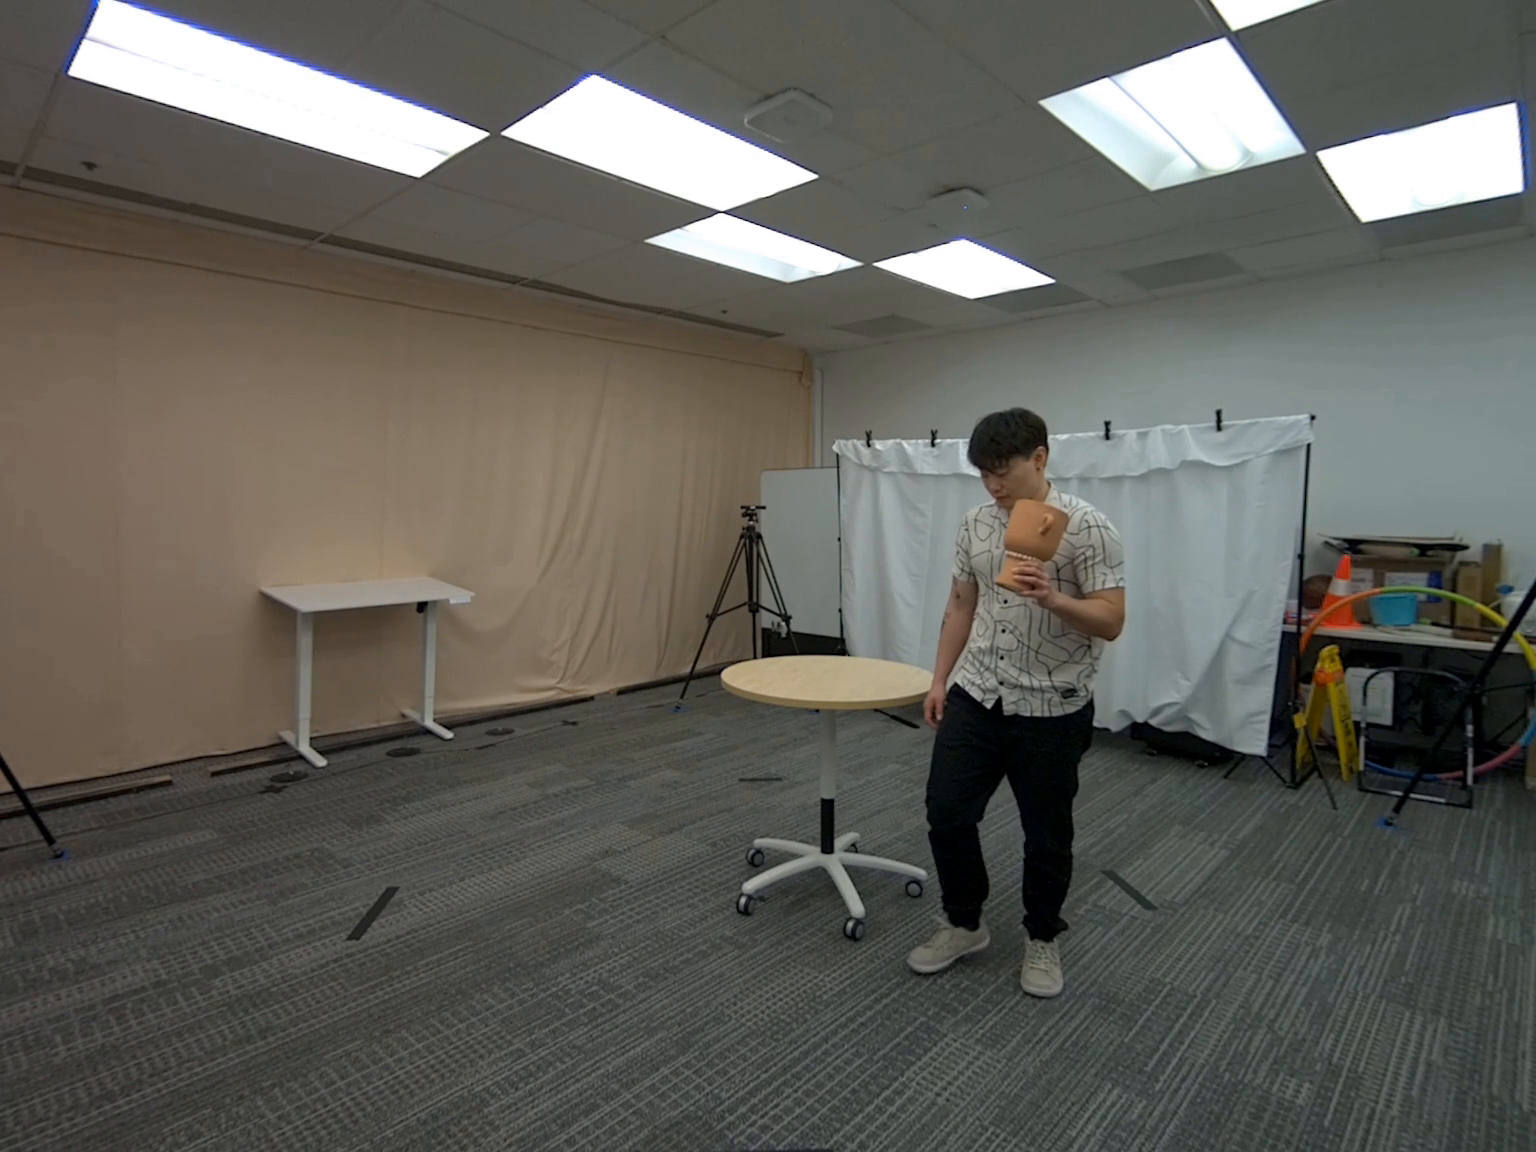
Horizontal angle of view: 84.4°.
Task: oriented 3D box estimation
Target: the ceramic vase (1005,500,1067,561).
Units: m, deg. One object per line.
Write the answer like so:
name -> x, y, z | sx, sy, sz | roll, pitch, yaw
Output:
ceramic vase -> 0.683, -0.069, 2.124 | 0.139, 0.220, 0.153 | 21, 0, 40
